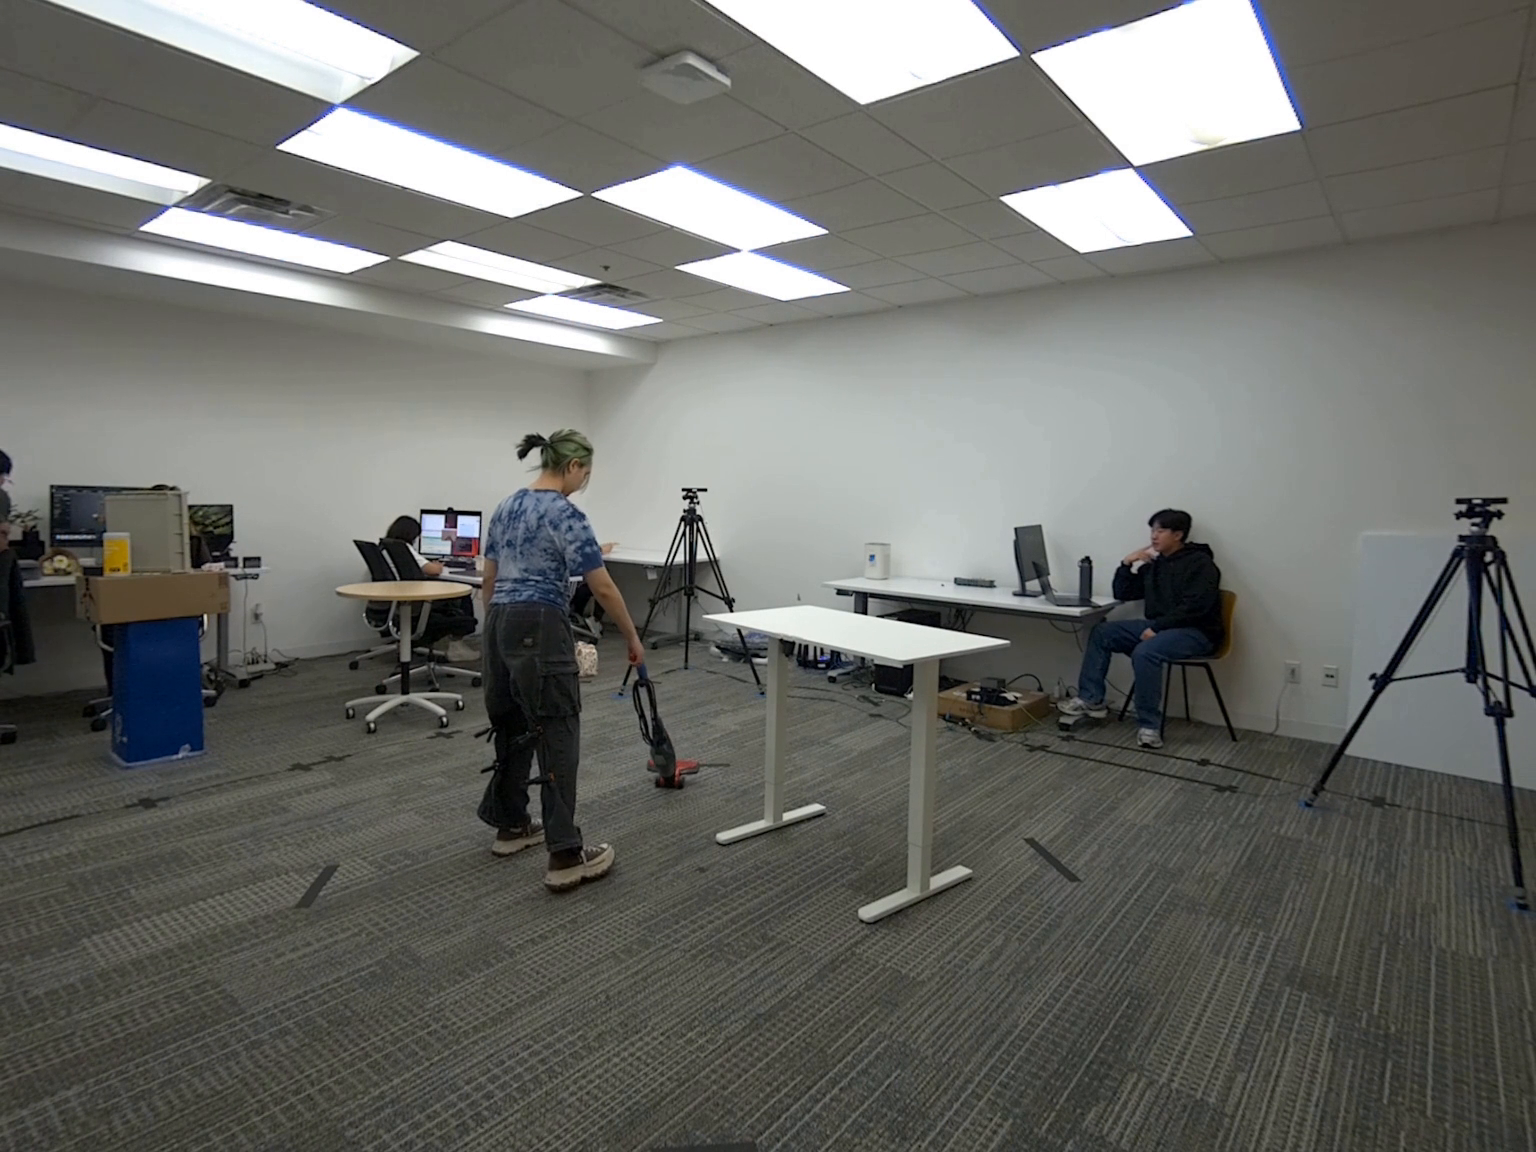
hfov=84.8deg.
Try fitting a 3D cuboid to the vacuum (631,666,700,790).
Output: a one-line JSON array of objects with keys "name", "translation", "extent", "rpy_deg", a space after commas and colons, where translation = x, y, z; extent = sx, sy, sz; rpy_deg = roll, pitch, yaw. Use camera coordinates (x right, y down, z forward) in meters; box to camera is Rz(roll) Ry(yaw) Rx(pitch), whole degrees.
[{"name": "vacuum", "translation": [-0.504, 0.634, 3.617], "extent": [0.255, 0.147, 1.015], "rpy_deg": [4, -38, 9]}]
